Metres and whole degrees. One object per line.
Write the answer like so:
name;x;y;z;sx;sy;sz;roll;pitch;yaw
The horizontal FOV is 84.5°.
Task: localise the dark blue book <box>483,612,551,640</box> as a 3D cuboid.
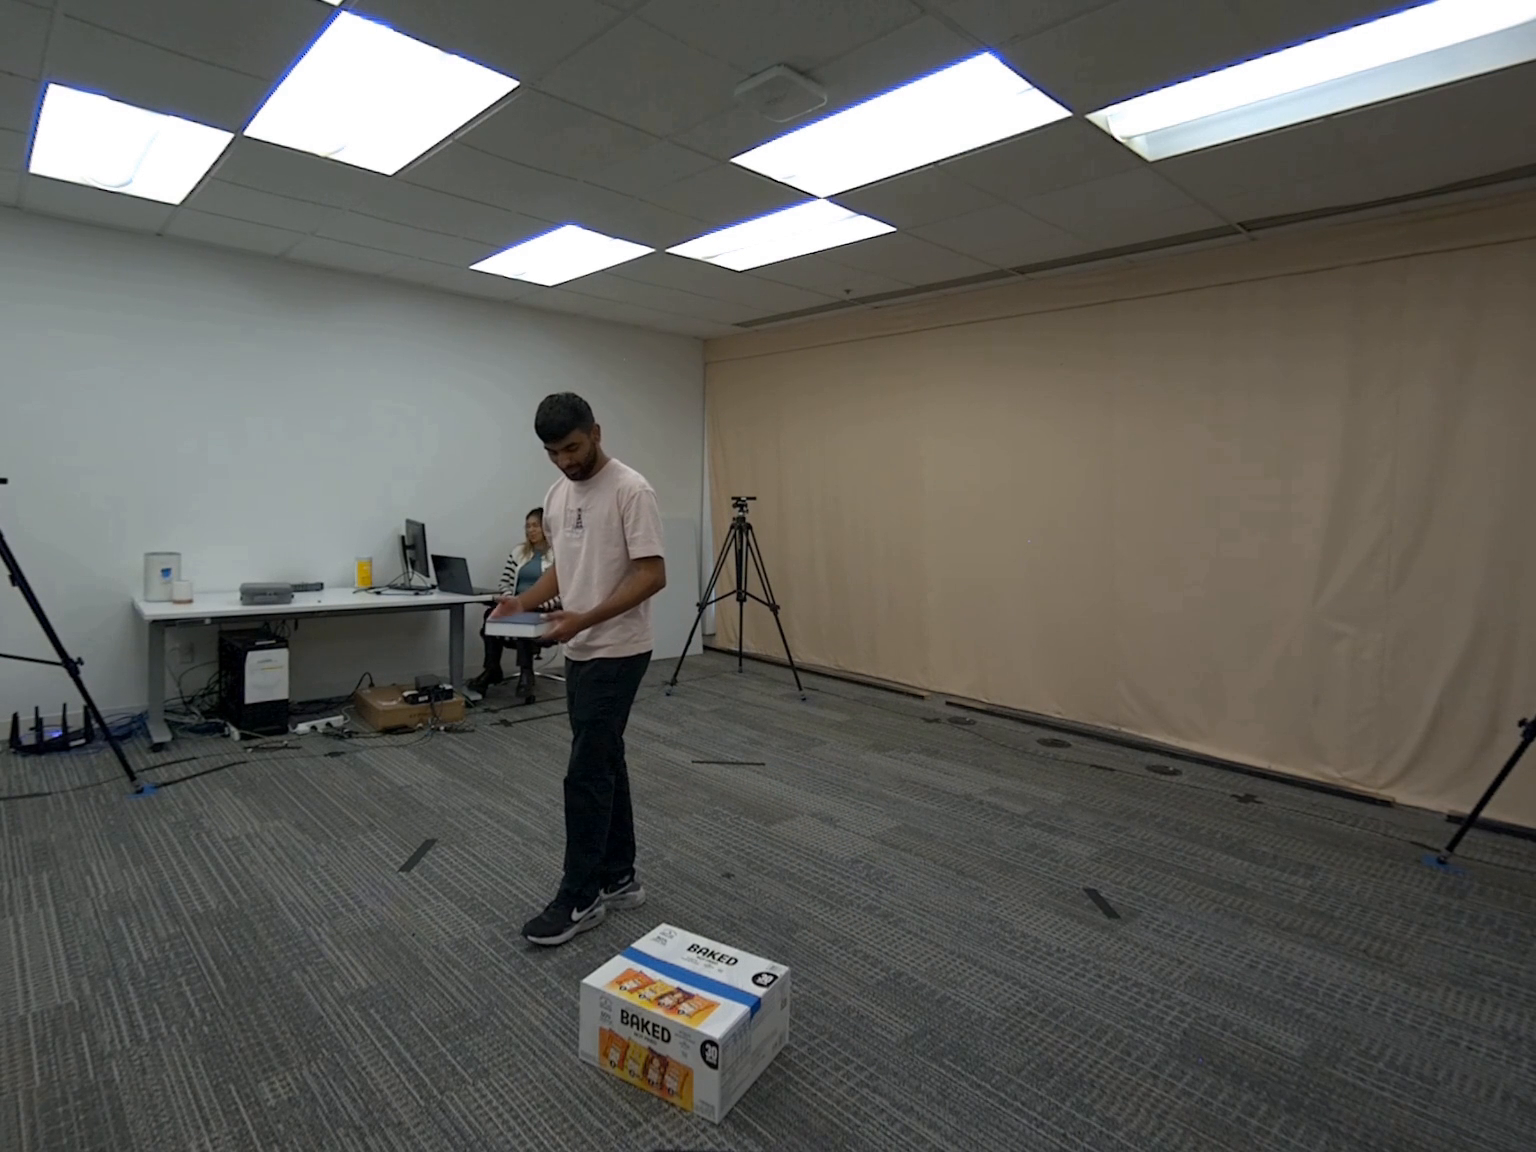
dark blue book;-0.730;0.148;2.543;0.165;0.045;0.243;3;4;10
